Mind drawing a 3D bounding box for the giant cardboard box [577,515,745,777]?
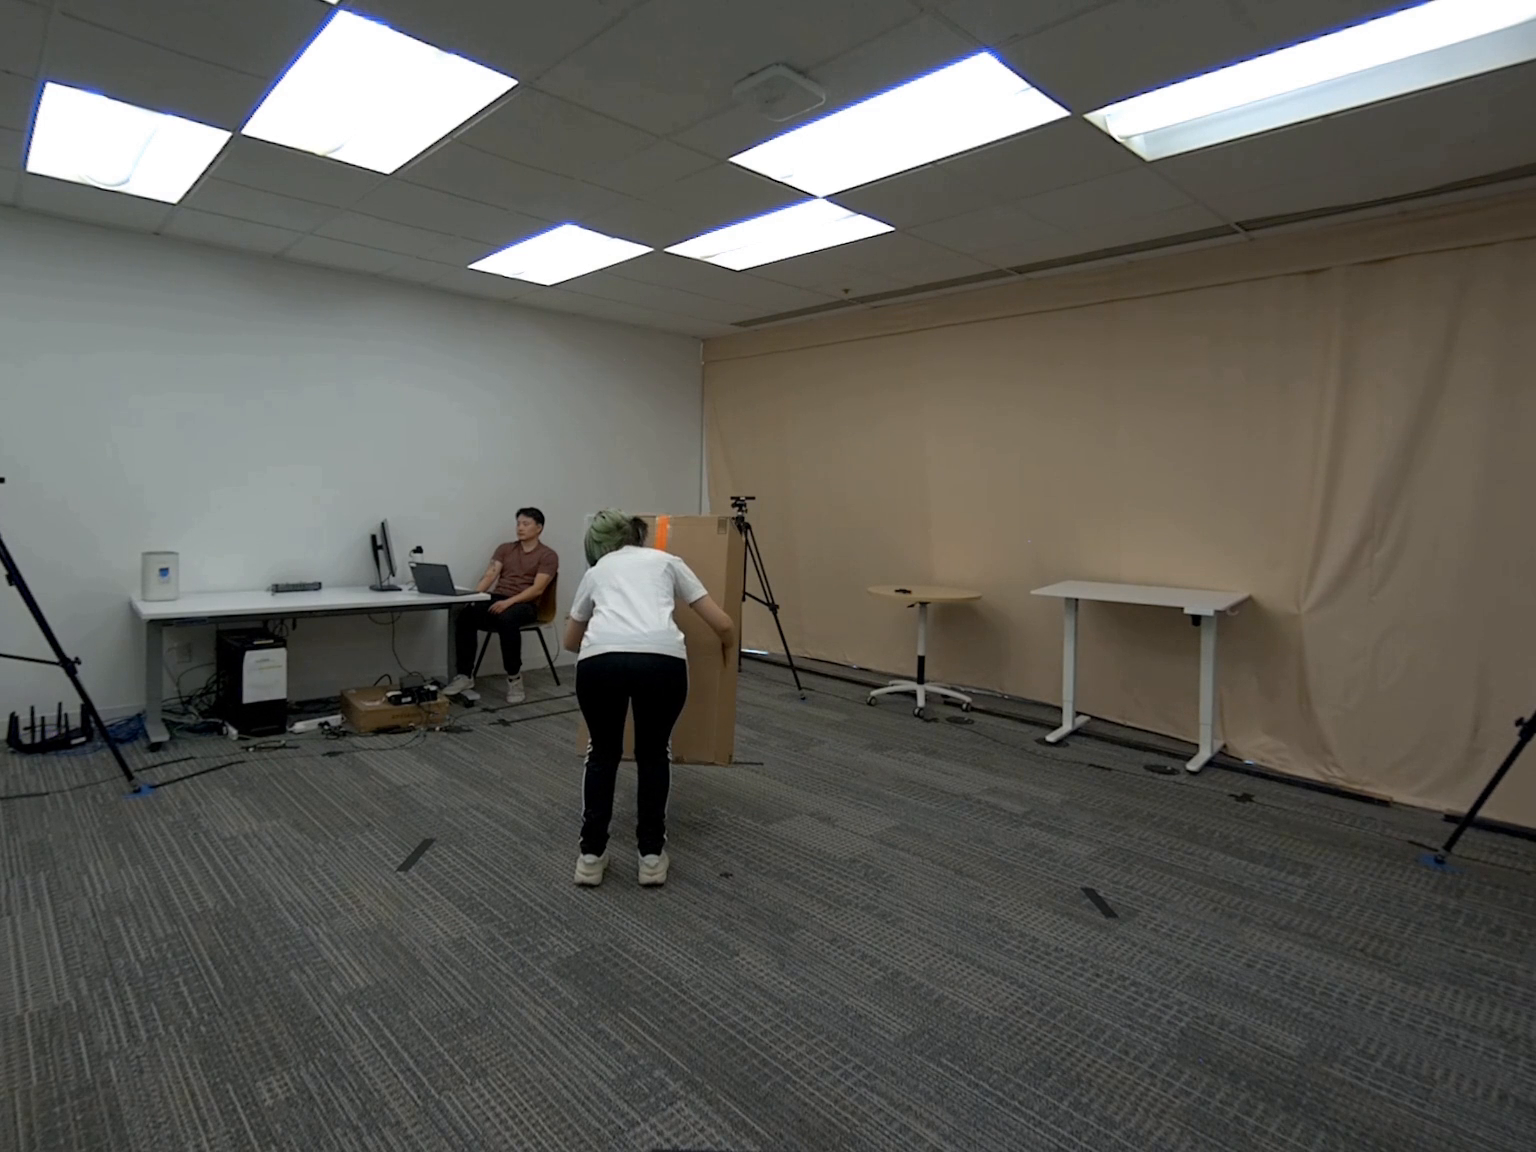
[{"bbox_3d":[-0.449,0.285,3.682,0.589,1.038,0.438,0,-16,9],"label":"giant cardboard box"}]
